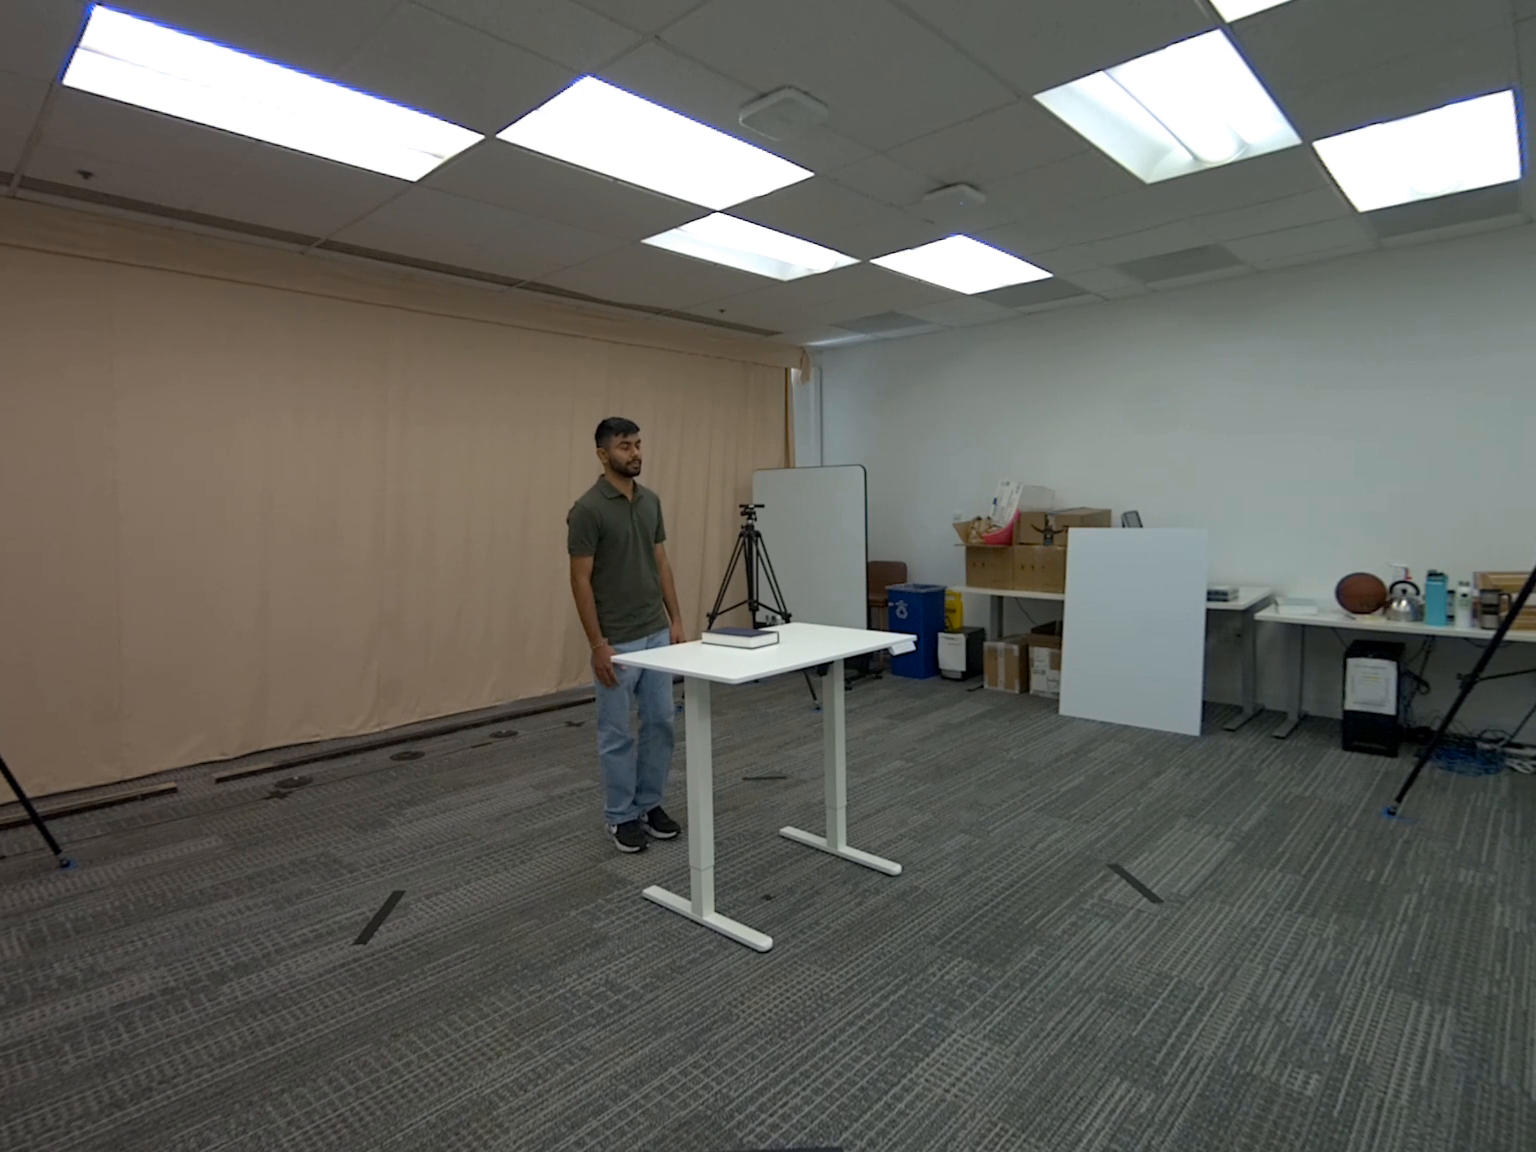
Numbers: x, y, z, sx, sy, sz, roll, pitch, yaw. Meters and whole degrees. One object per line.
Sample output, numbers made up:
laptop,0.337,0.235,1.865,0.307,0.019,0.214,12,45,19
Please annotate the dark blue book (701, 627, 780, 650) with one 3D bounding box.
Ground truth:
dark blue book,-0.107,0.228,3.116,0.253,0.045,0.158,3,6,39
